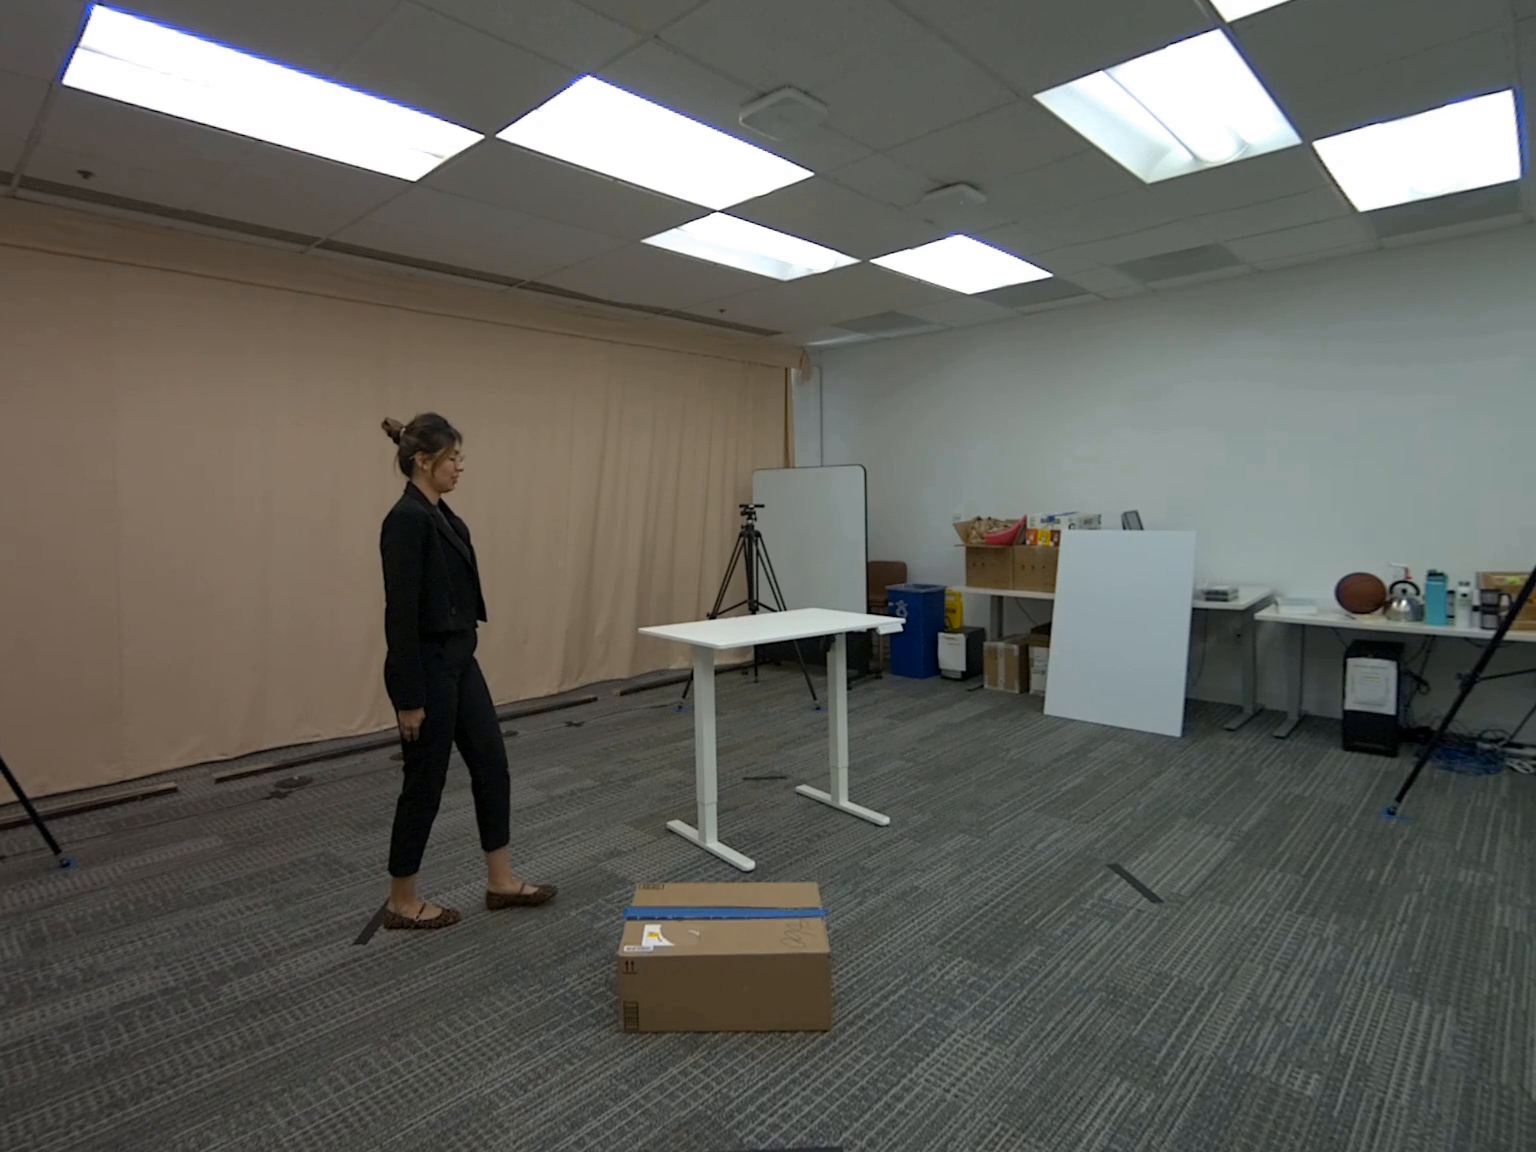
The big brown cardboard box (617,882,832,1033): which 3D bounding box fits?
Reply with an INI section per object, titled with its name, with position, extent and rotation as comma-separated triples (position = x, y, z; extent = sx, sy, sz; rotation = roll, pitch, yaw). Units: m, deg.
[big brown cardboard box]
position = -0.118, 1.081, 2.415
extent = 0.589, 0.232, 0.418
rotation = 0, 4, 0
